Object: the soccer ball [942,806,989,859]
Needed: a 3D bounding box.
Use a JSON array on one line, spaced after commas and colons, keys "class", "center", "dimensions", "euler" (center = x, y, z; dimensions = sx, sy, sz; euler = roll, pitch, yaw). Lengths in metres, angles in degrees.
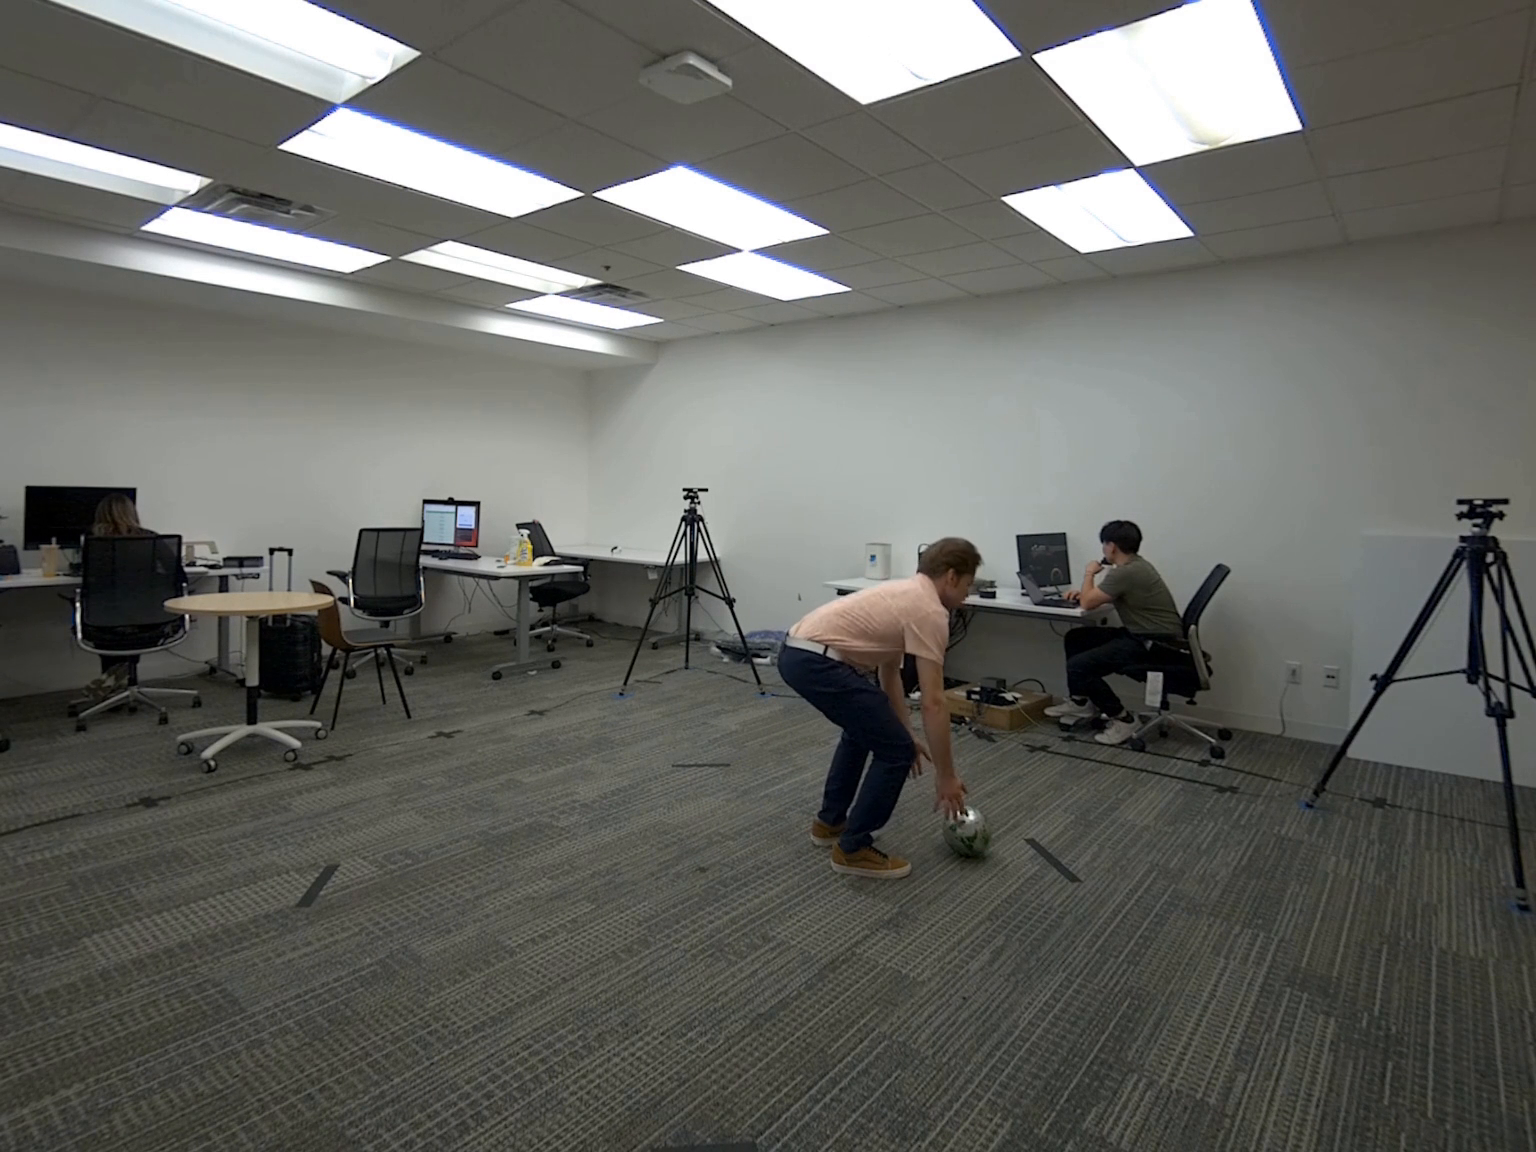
[{"class": "soccer ball", "center": [0.760, 0.980, 3.286], "dimensions": [0.187, 0.187, 0.188], "euler": [1, 4, -2]}]
